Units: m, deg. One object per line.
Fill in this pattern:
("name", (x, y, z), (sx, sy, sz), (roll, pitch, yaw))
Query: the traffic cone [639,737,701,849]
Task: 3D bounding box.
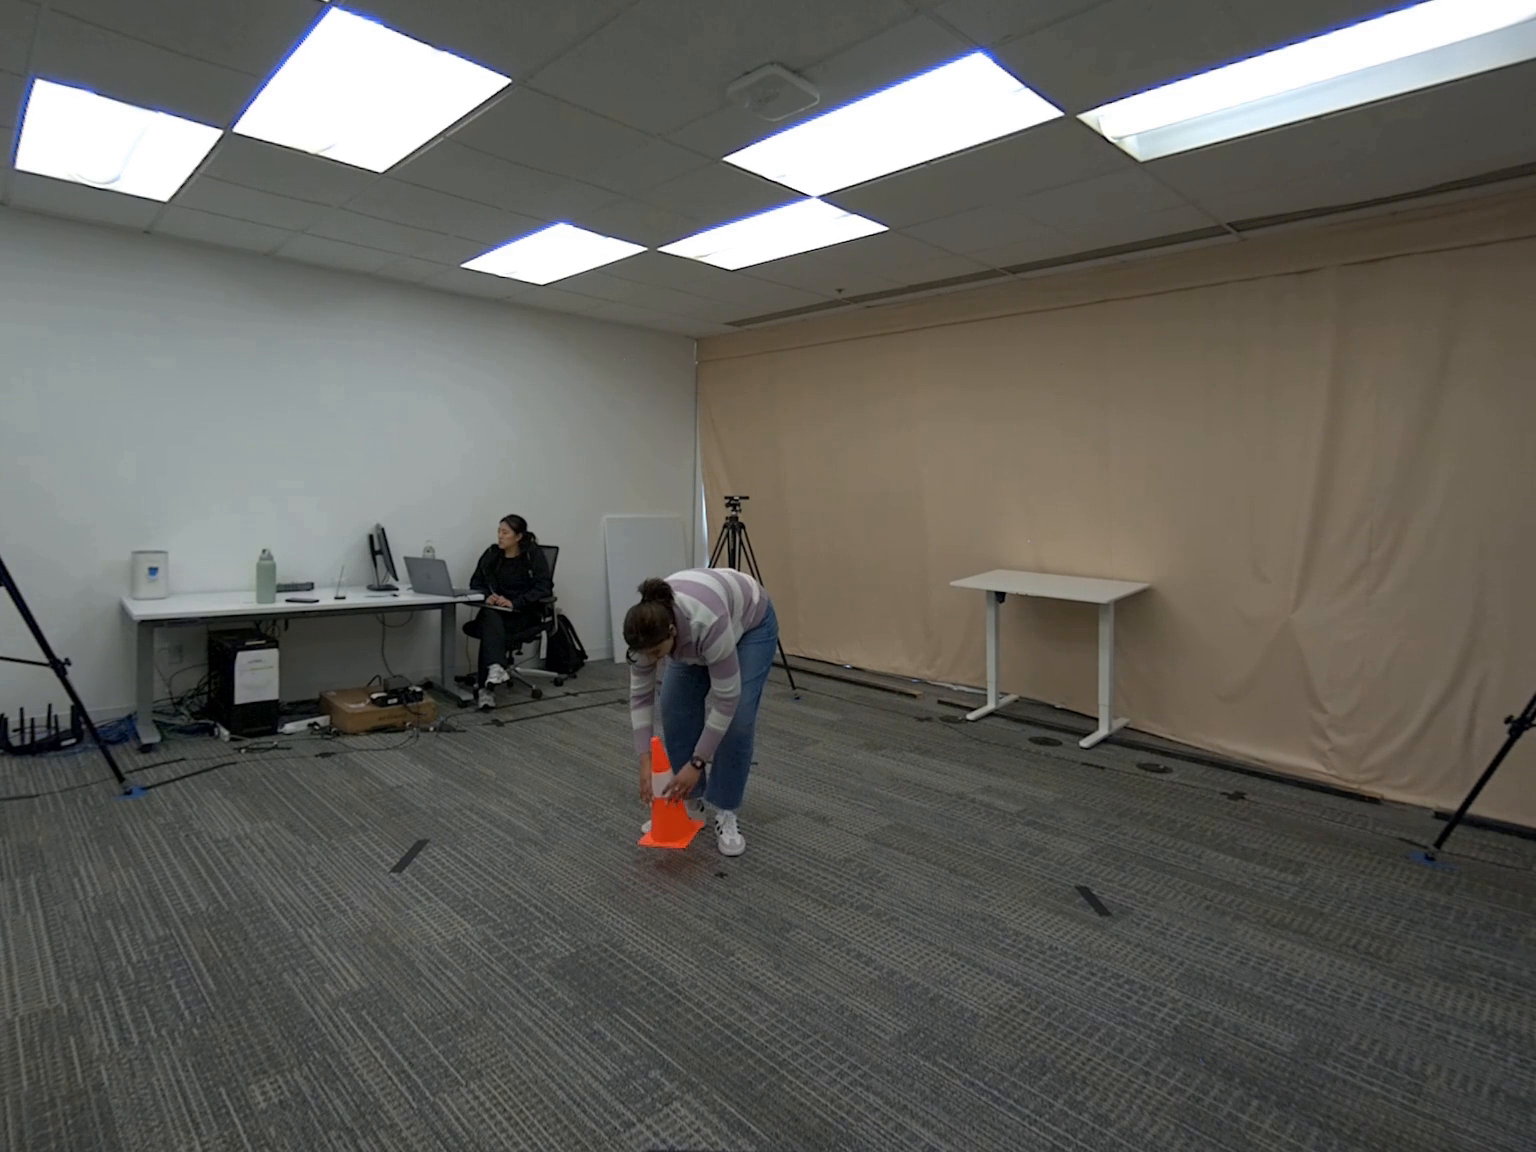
("traffic cone", (-0.398, 0.783, 3.145), (0.207, 0.381, 0.203), (-1, 10, 22))
